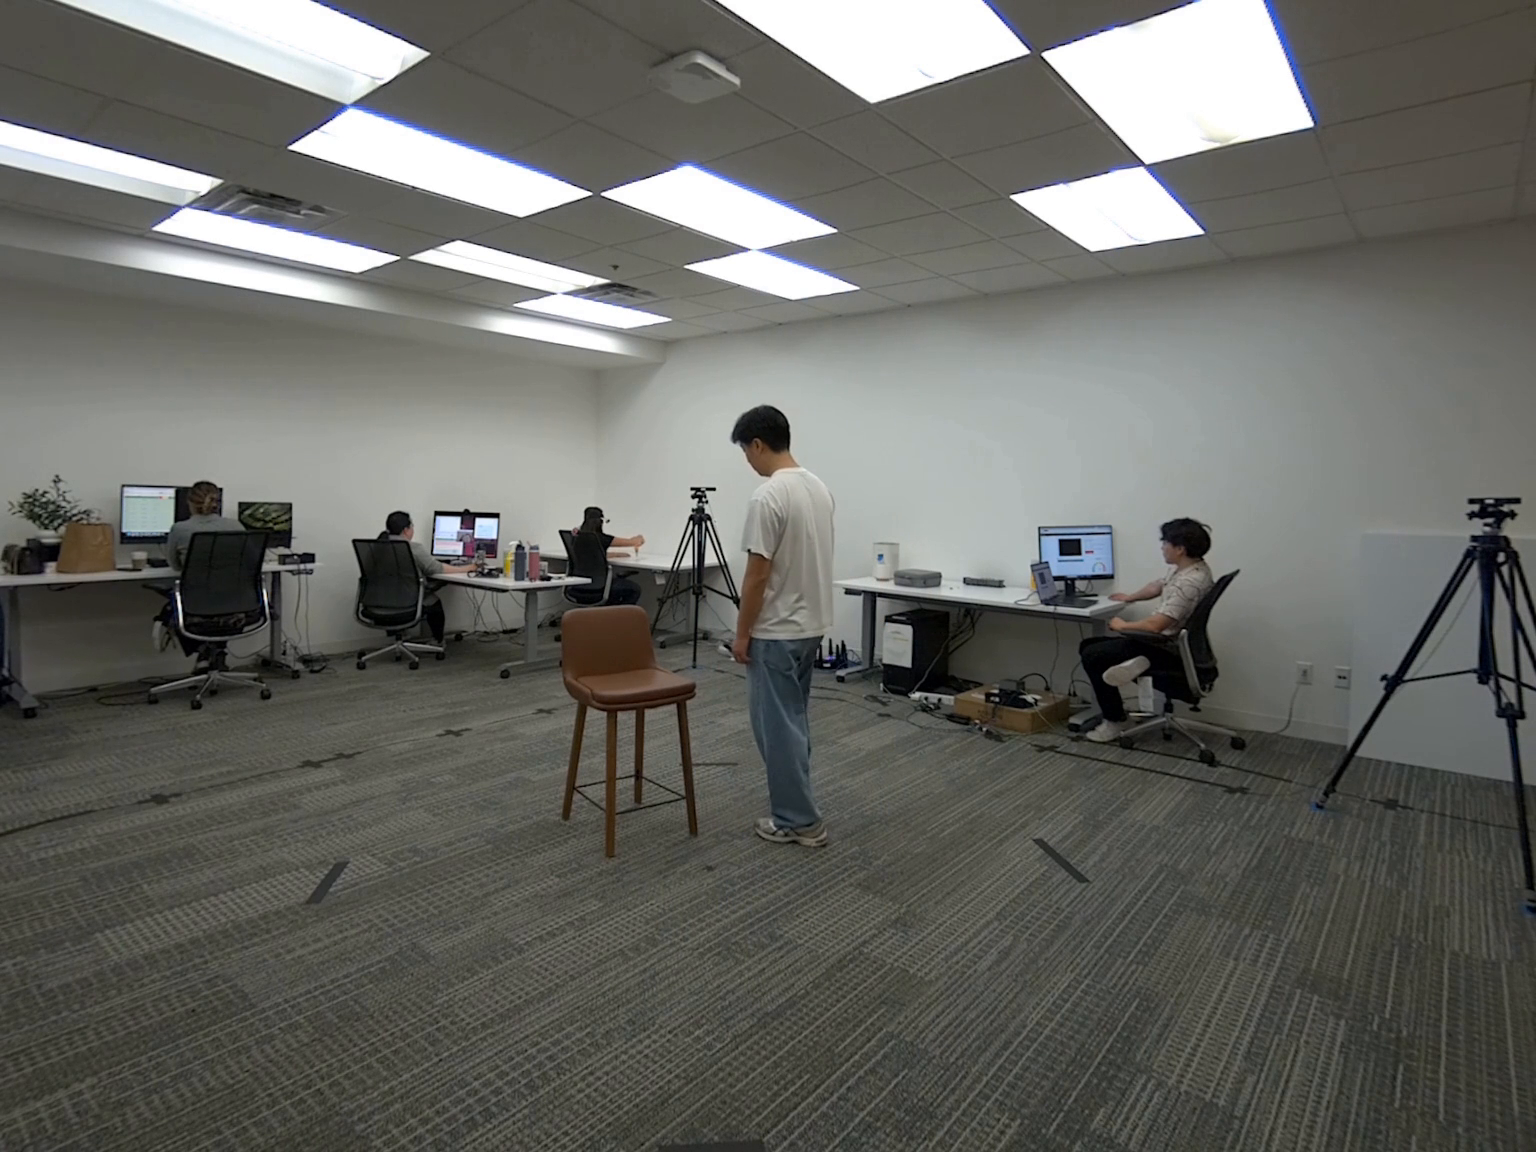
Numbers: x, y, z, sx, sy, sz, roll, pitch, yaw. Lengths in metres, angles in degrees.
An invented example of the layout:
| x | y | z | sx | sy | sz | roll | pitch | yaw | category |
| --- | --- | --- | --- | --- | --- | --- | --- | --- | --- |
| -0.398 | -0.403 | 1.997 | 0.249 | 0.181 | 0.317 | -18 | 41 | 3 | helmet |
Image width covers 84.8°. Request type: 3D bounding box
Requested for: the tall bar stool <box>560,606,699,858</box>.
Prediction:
| x | y | z | sx | sy | sz | roll | pitch | yaw | category |
| --- | --- | --- | --- | --- | --- | --- | --- | --- | --- |
| -0.587 | 0.587 | 3.465 | 0.443 | 0.889 | 0.482 | -1 | 2 | -38 | tall bar stool |
